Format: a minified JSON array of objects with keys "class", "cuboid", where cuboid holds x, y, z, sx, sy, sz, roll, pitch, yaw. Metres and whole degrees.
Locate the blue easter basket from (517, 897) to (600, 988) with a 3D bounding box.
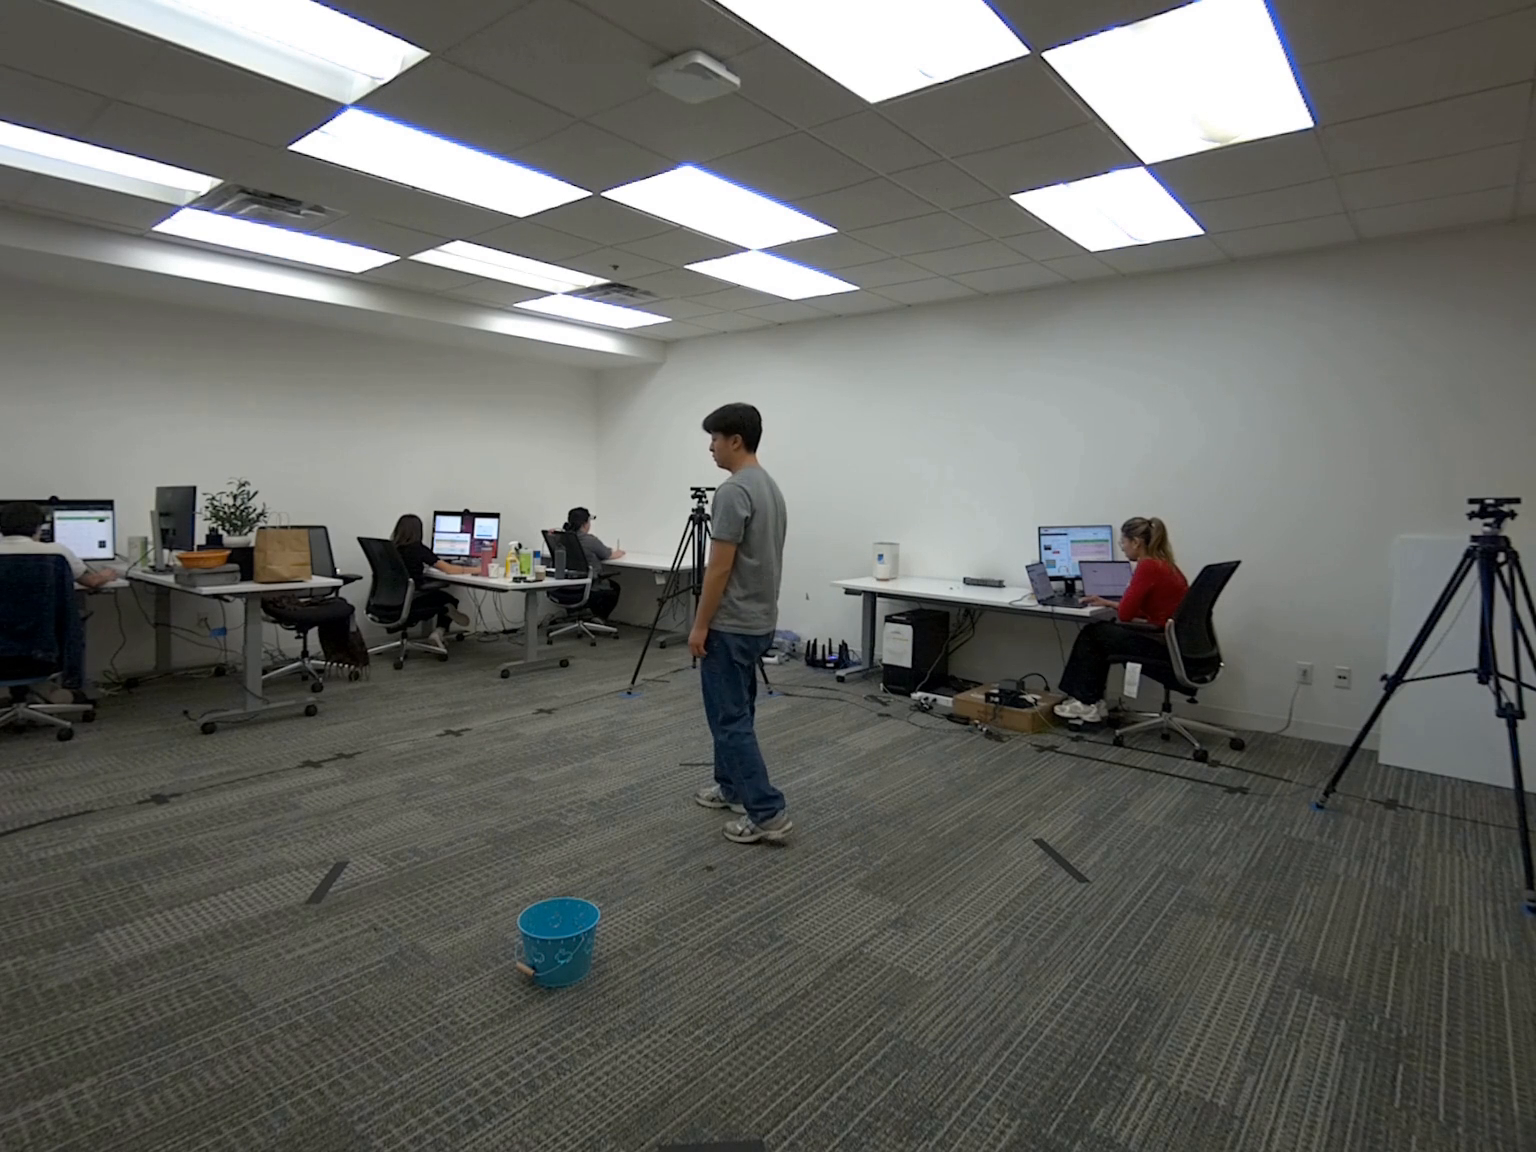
[{"class":"blue easter basket","cuboid":[-0.612,1.046,2.440,0.243,0.155,0.245,1,5,-2]}]
